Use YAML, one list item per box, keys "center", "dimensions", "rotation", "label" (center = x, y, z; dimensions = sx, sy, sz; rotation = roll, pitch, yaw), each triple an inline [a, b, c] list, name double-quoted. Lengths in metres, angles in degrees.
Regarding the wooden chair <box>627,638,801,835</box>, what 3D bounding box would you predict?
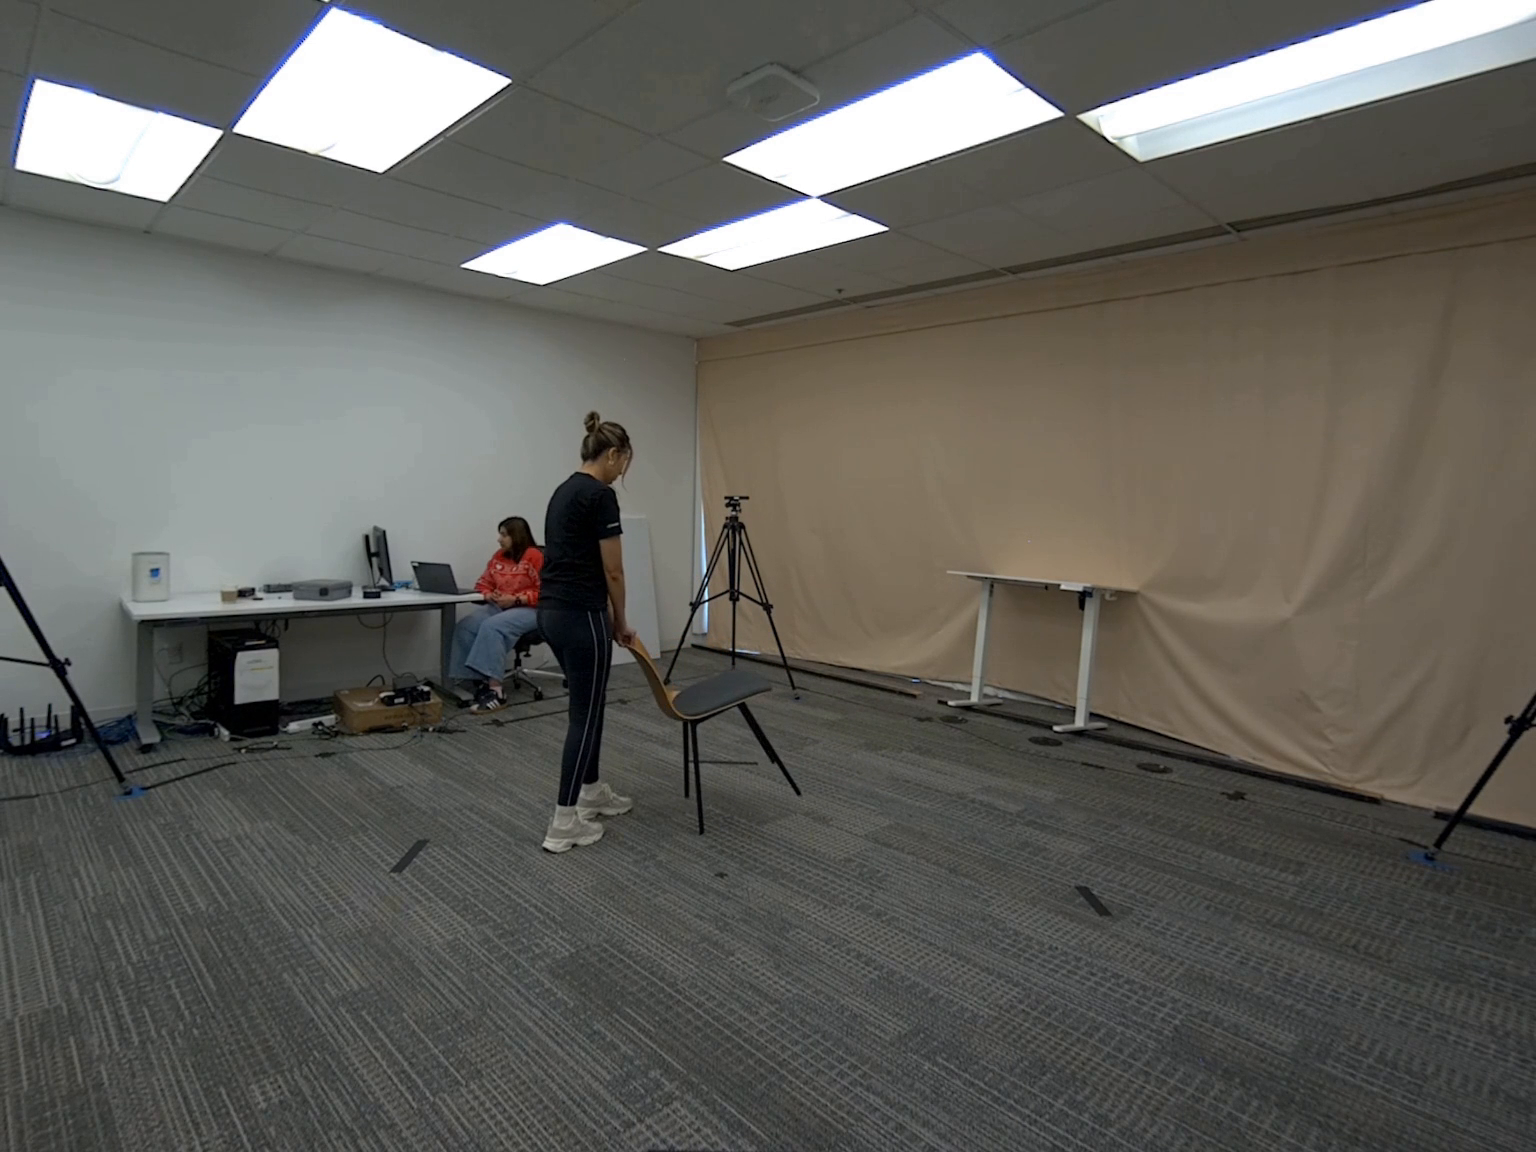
- center: [-0.249, 0.572, 3.668]
  dimensions: [0.521, 0.871, 0.483]
  rotation: [-23, 8, -10]
  label: "wooden chair"
